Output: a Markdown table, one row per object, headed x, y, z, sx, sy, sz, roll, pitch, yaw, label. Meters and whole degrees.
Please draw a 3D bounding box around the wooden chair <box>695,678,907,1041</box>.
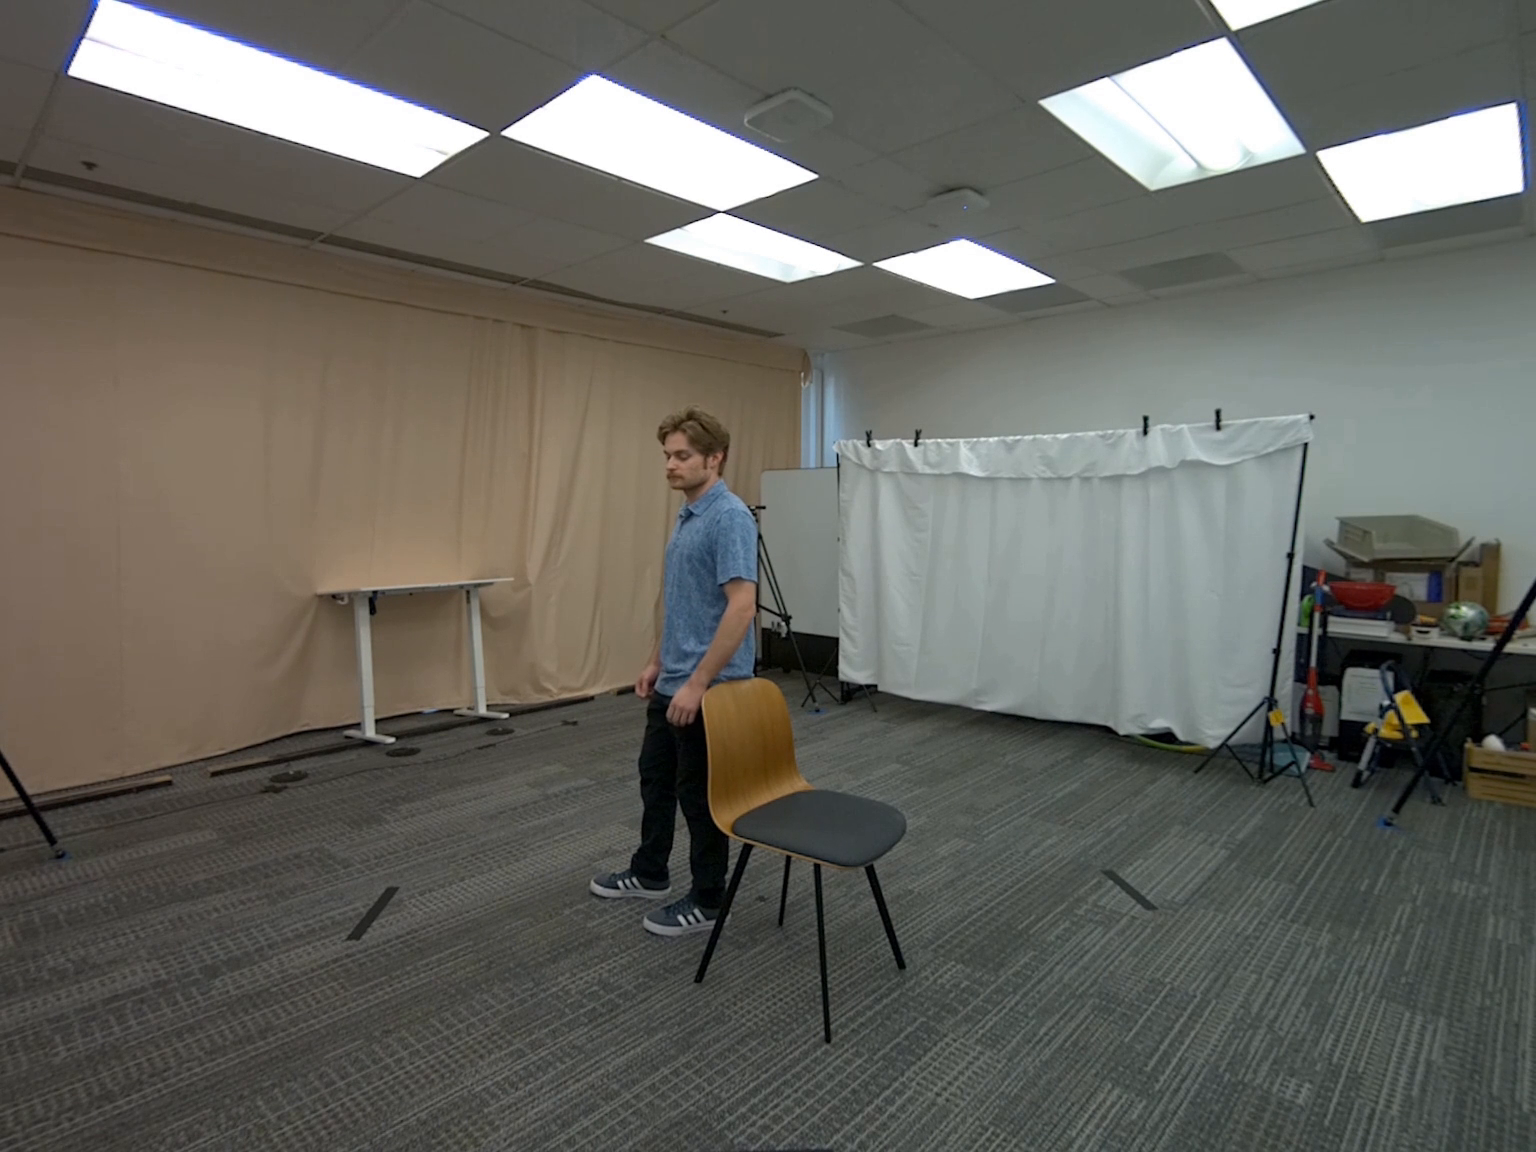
| x | y | z | sx | sy | sz | roll | pitch | yaw | label |
| --- | --- | --- | --- | --- | --- | --- | --- | --- | --- |
| 0.116 | 0.761 | 2.460 | 0.539 | 0.877 | 0.464 | -3 | 1 | 36 | wooden chair |
